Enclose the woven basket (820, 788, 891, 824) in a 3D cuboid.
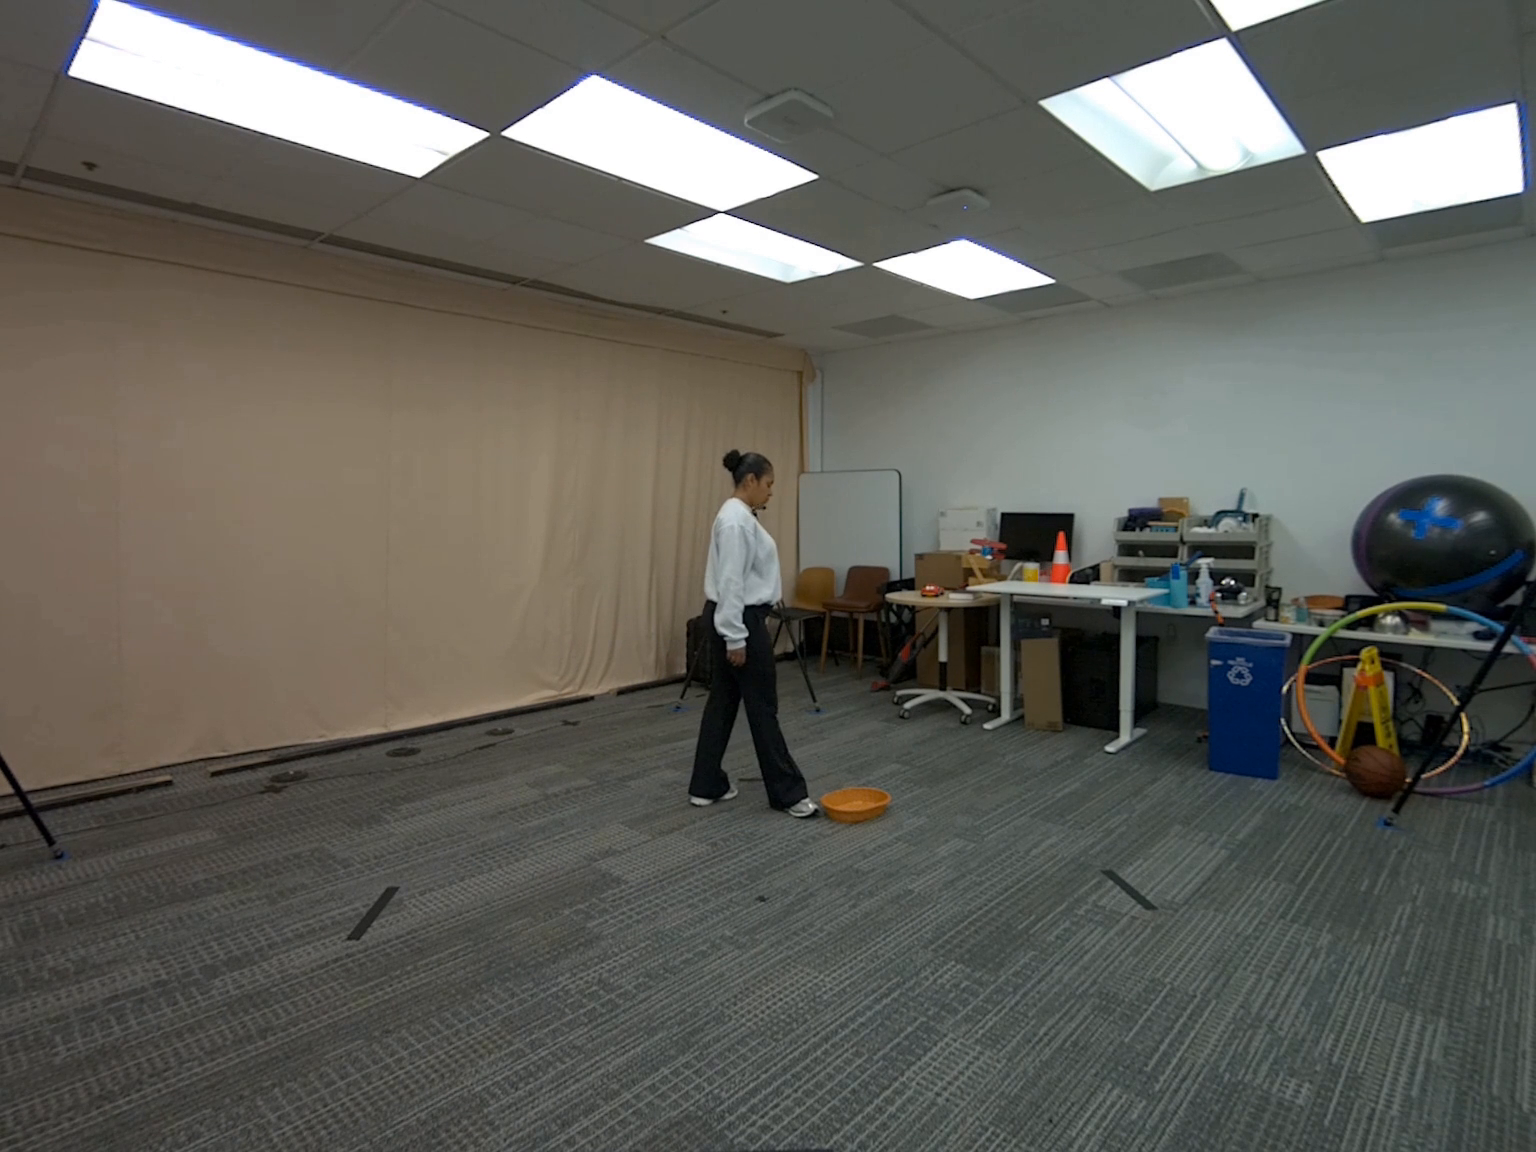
[{"bbox_3d":[0.398,1.036,3.809,0.340,0.073,0.260,-5,7,-36],"label":"woven basket"}]
